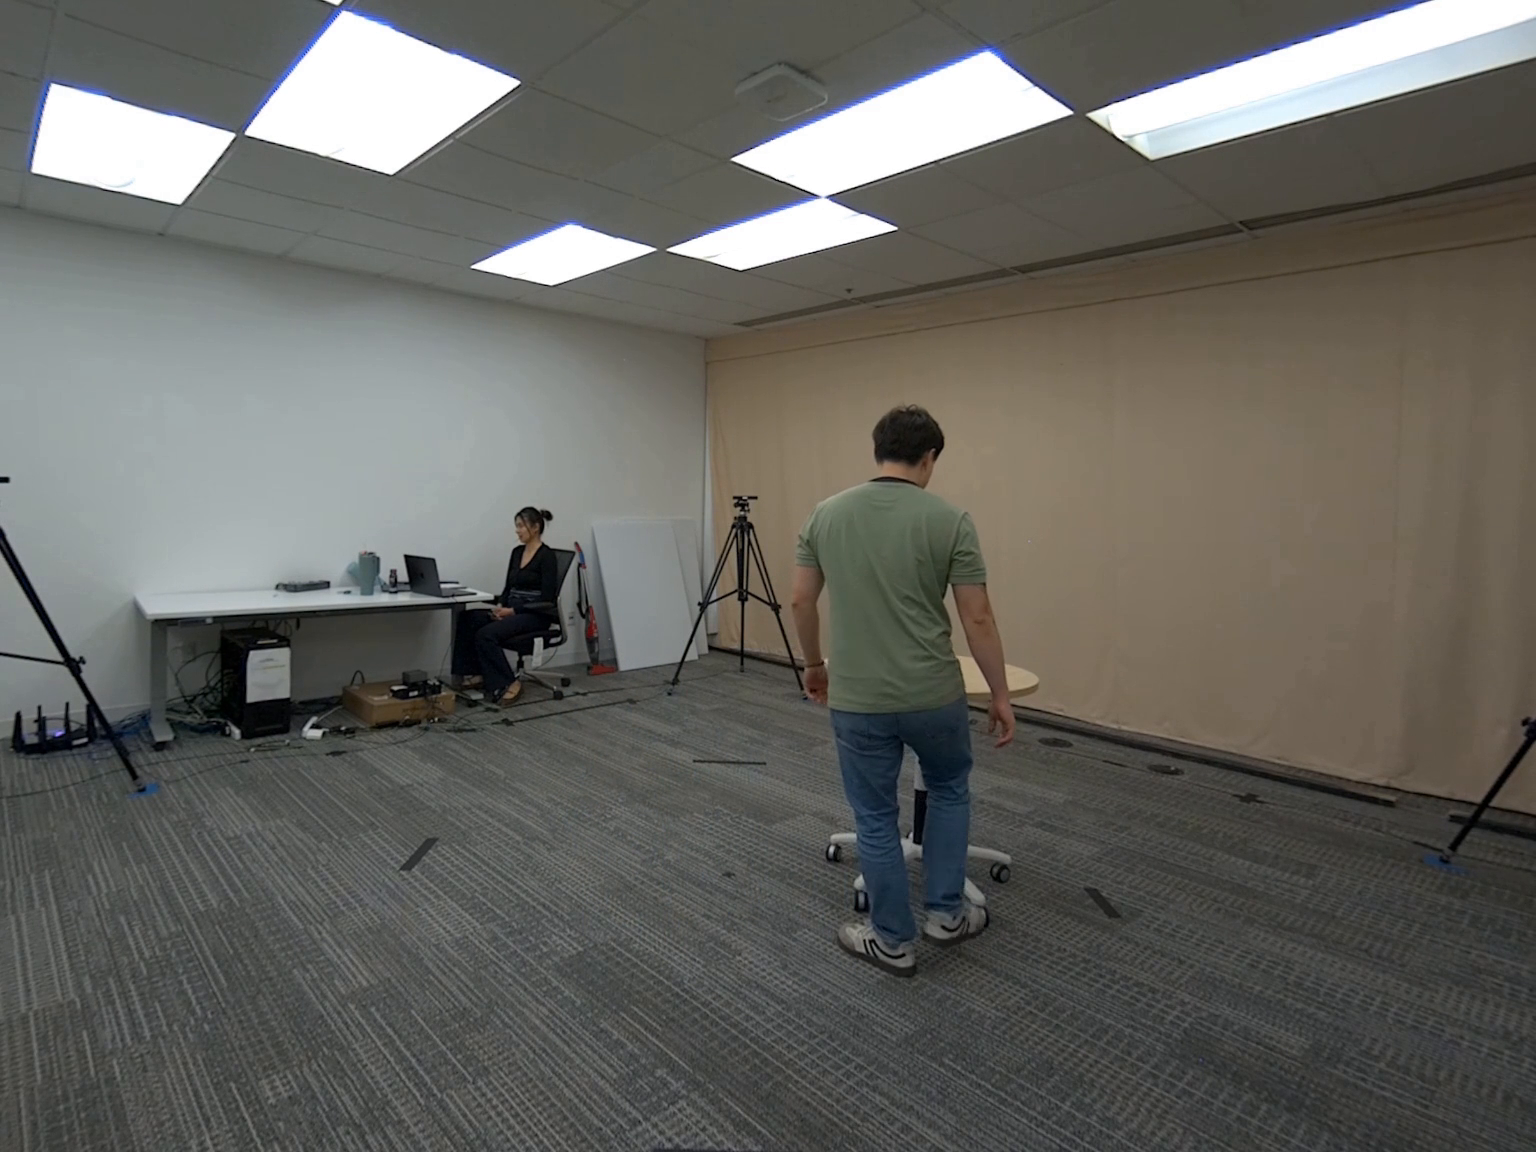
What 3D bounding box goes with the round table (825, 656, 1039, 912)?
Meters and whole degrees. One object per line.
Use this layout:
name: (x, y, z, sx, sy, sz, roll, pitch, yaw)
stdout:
round table: (0.563, 0.736, 3.075, 0.763, 0.792, 0.766, 2, 4, -1)
